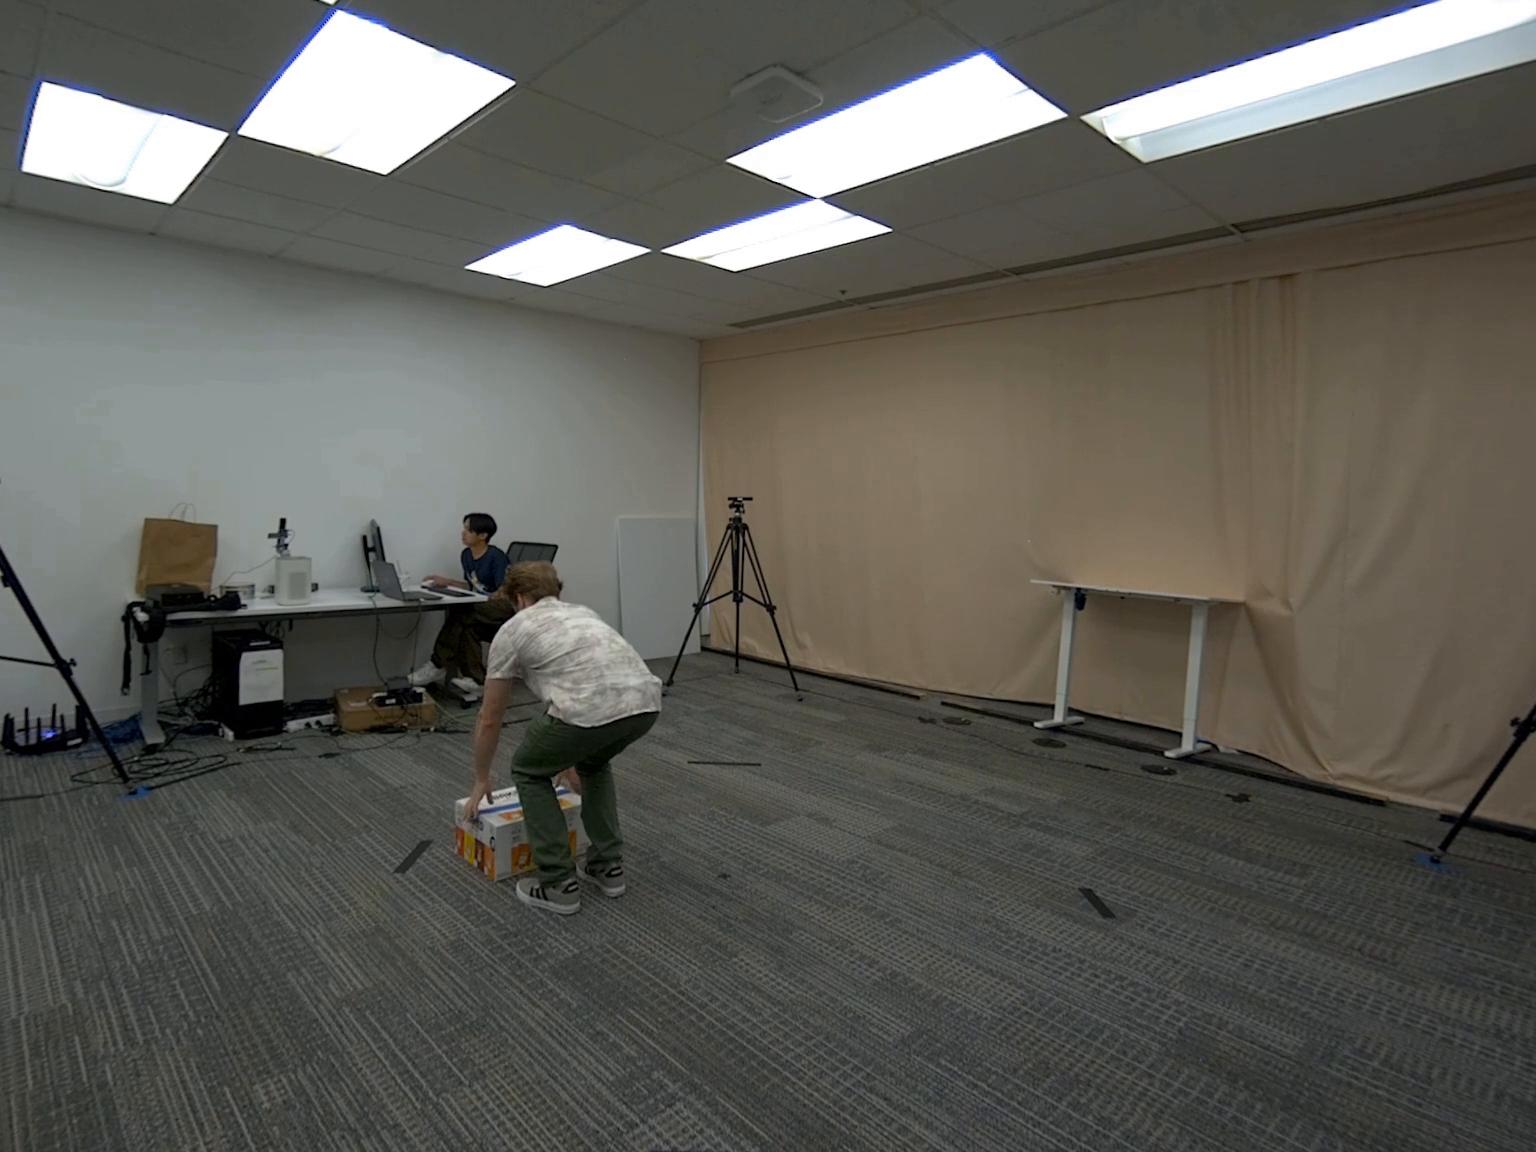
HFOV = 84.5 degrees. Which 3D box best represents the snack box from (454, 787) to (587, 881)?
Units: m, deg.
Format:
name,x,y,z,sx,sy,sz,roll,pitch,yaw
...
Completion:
name,x,y,z,sx,sy,sz,roll,pitch,yaw
snack box,-0.967,0.977,3.262,0.396,0.205,0.349,-4,7,-43
